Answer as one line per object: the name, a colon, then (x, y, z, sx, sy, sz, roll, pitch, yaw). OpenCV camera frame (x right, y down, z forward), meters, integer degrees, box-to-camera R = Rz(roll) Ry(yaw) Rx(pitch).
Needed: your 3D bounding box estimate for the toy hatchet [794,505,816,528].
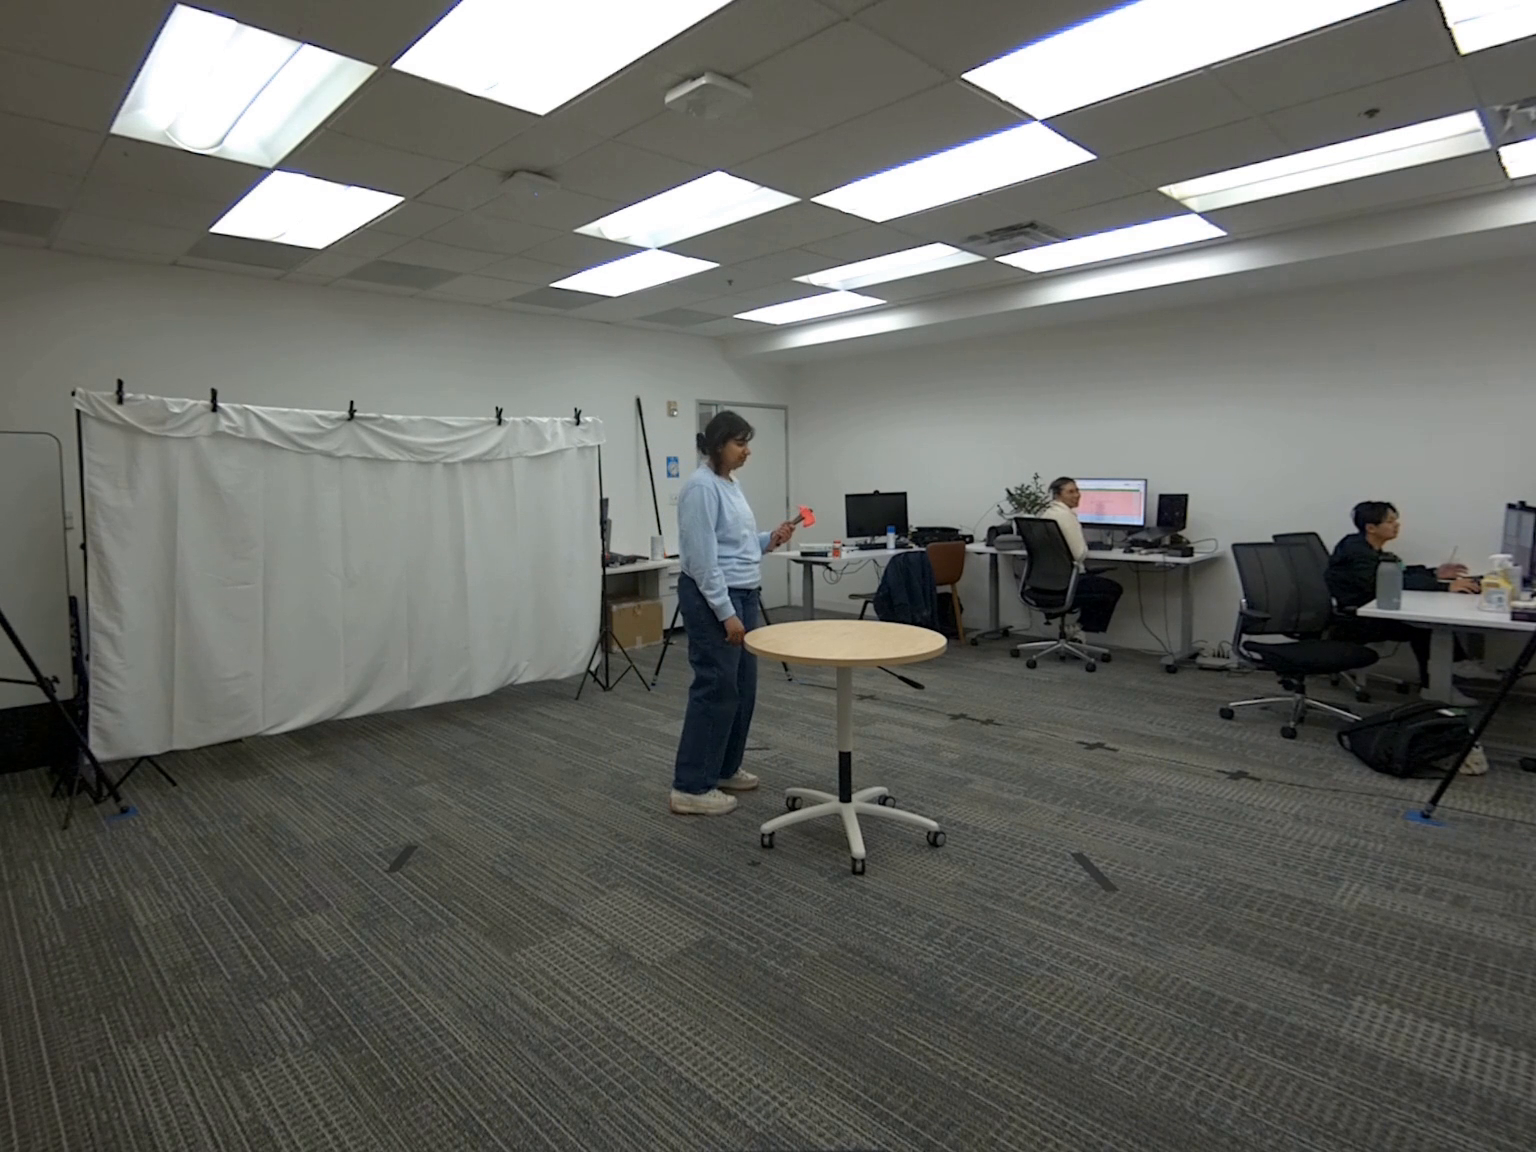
toy hatchet: (0.101, -0.195, 3.751, 0.136, 0.270, 0.028, 26, -20, 35)
